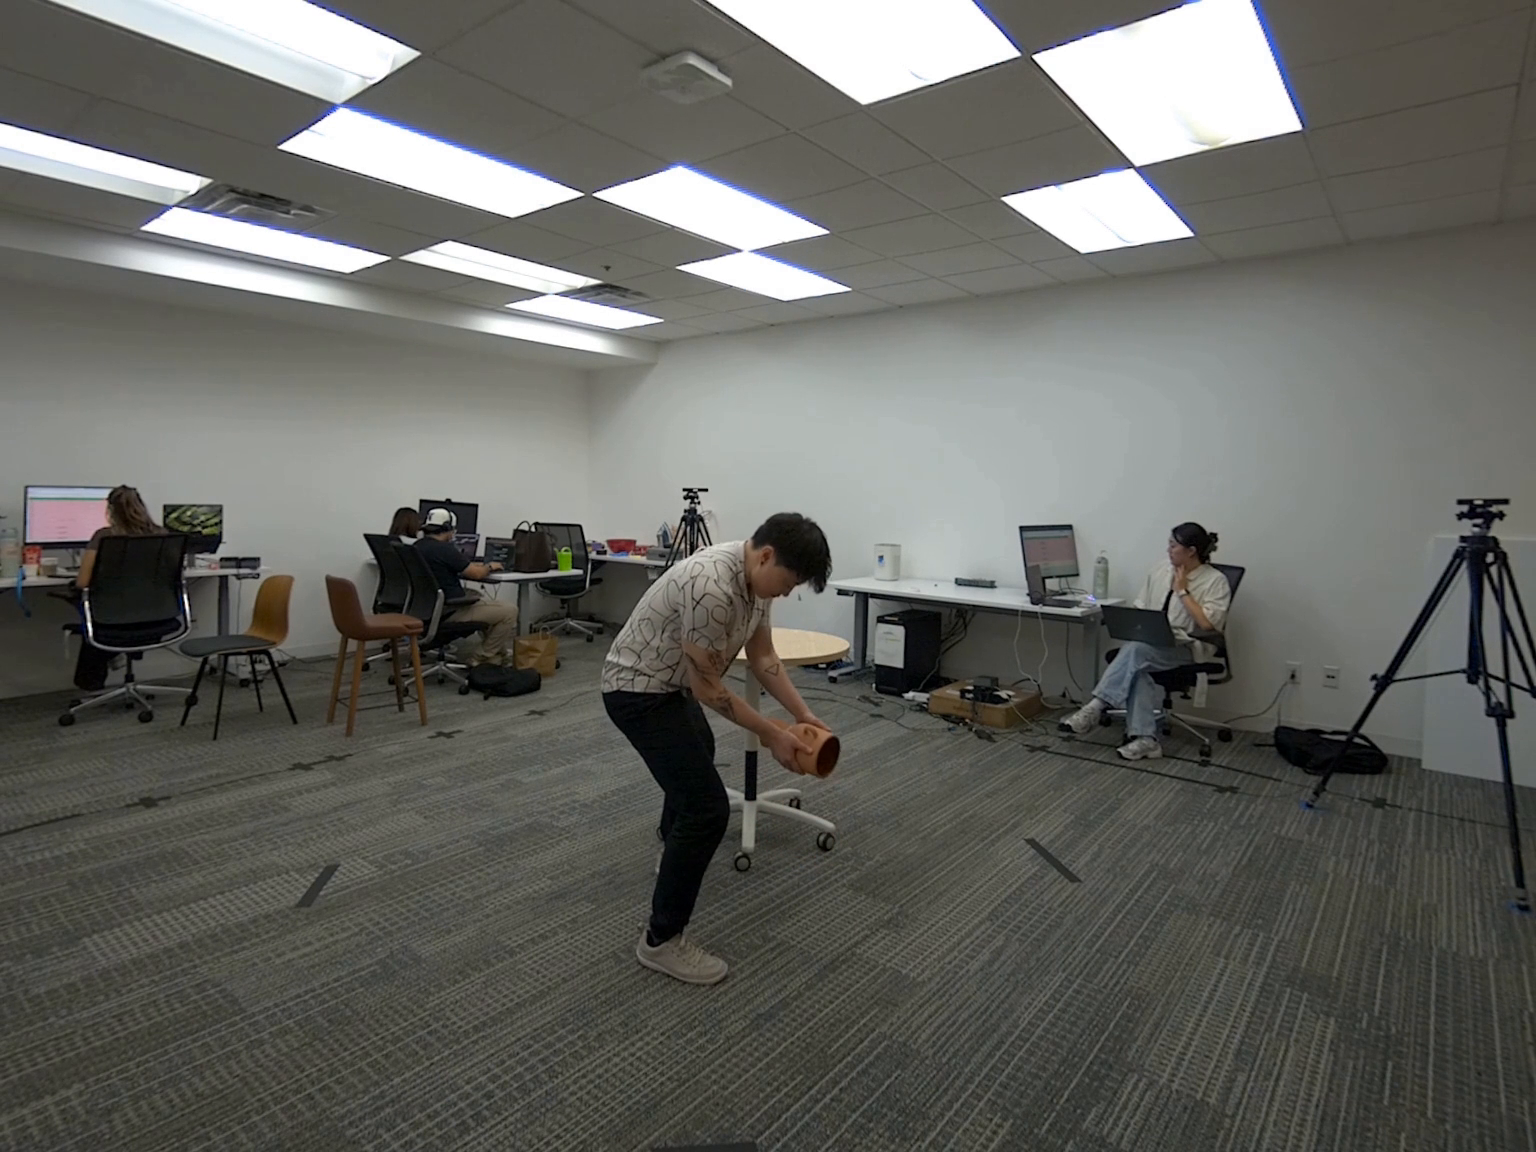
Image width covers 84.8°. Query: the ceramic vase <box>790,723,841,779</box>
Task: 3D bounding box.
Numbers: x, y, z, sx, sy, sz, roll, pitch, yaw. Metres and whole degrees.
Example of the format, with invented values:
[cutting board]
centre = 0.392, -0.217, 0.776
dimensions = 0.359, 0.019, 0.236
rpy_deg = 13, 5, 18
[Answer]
[ceramic vase]
centre = 0.085, 0.501, 2.530
dimensions = 0.228, 0.158, 0.130
rpy_deg = 14, 8, 38
